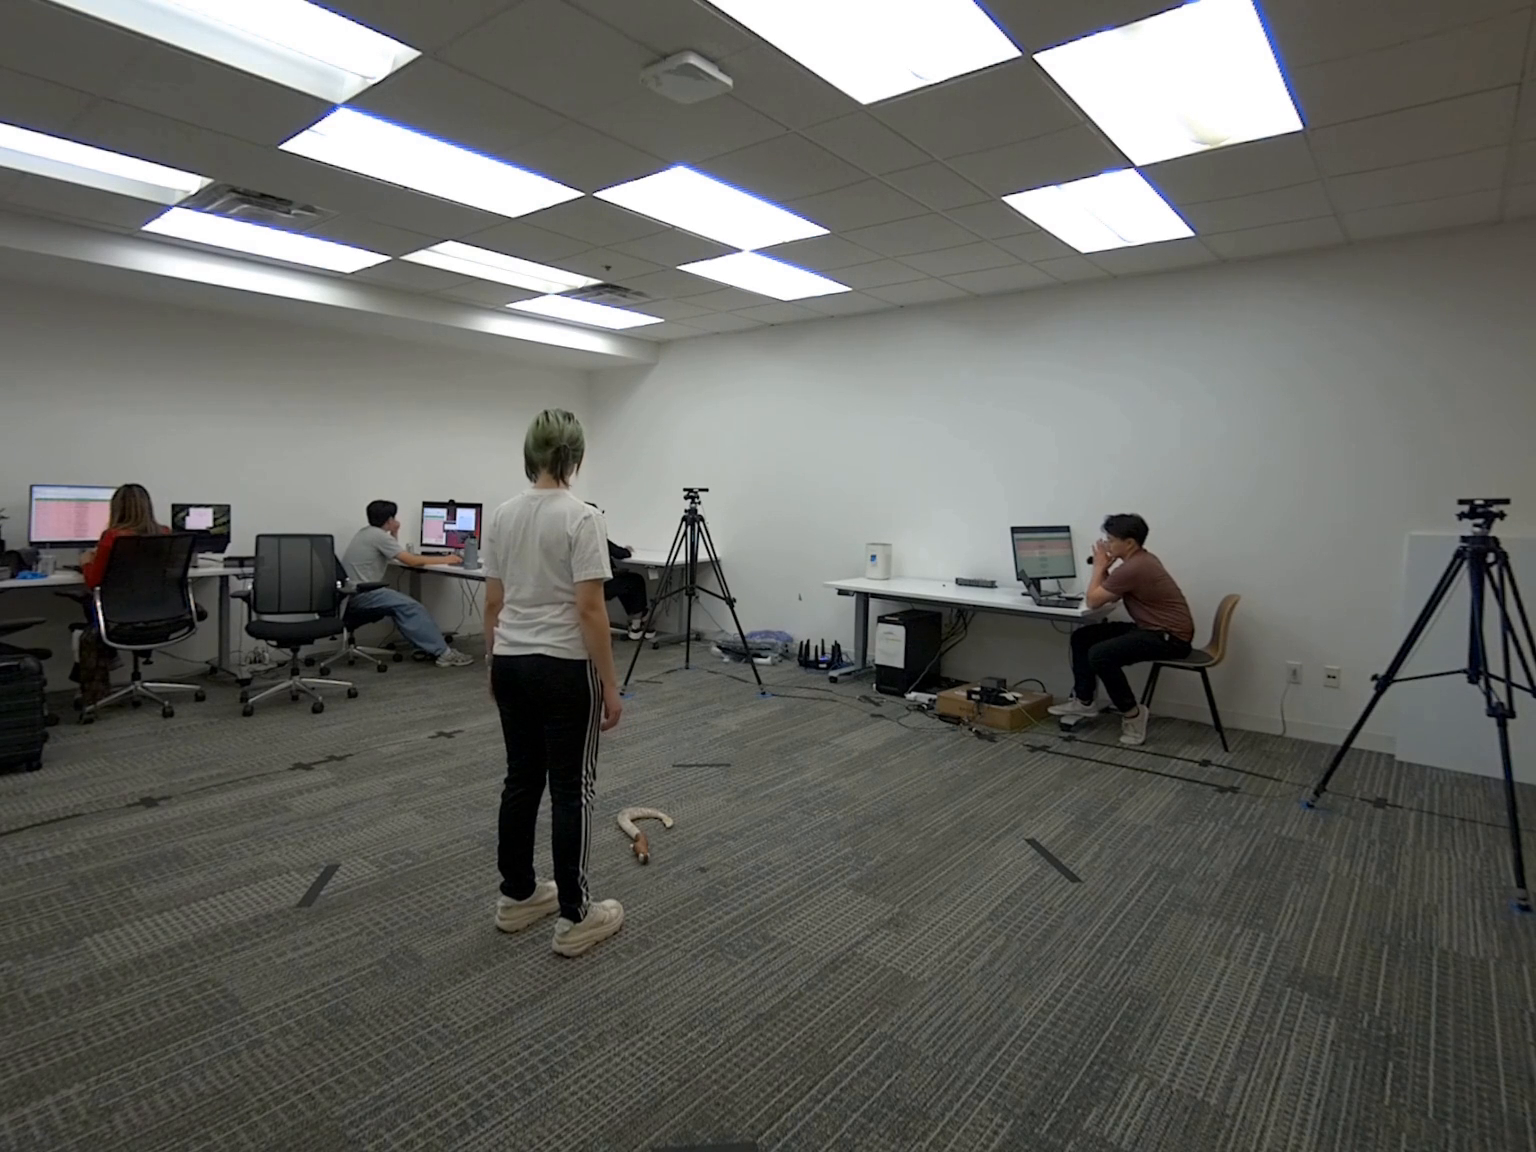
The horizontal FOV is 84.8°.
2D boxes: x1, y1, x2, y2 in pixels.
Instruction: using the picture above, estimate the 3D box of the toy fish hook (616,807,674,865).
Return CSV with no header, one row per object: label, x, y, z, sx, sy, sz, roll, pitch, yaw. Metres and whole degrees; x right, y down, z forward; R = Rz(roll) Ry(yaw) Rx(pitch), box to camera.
toy fish hook,-0.481,1.015,3.384,0.221,0.048,0.516,-2,7,-15
